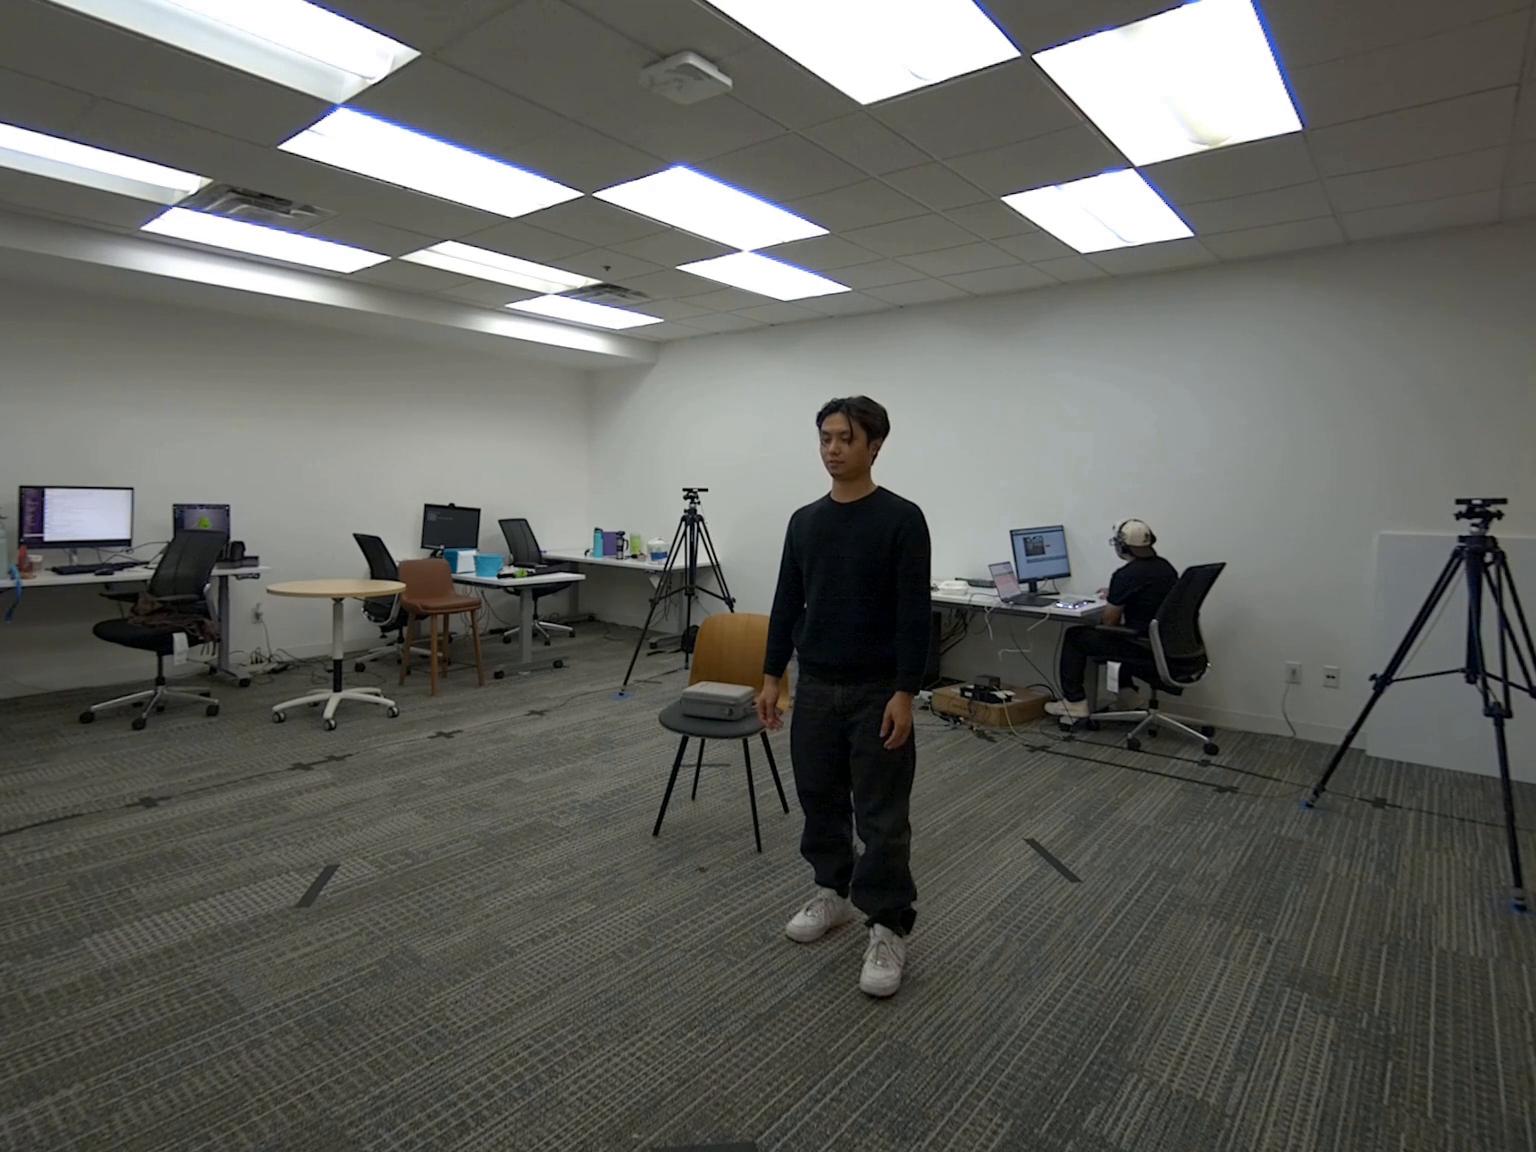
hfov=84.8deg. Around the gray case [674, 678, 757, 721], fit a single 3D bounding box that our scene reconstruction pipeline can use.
[{"bbox_3d":[-0.214,0.501,3.454,0.266,0.104,0.252,4,2,17],"label":"gray case"}]
